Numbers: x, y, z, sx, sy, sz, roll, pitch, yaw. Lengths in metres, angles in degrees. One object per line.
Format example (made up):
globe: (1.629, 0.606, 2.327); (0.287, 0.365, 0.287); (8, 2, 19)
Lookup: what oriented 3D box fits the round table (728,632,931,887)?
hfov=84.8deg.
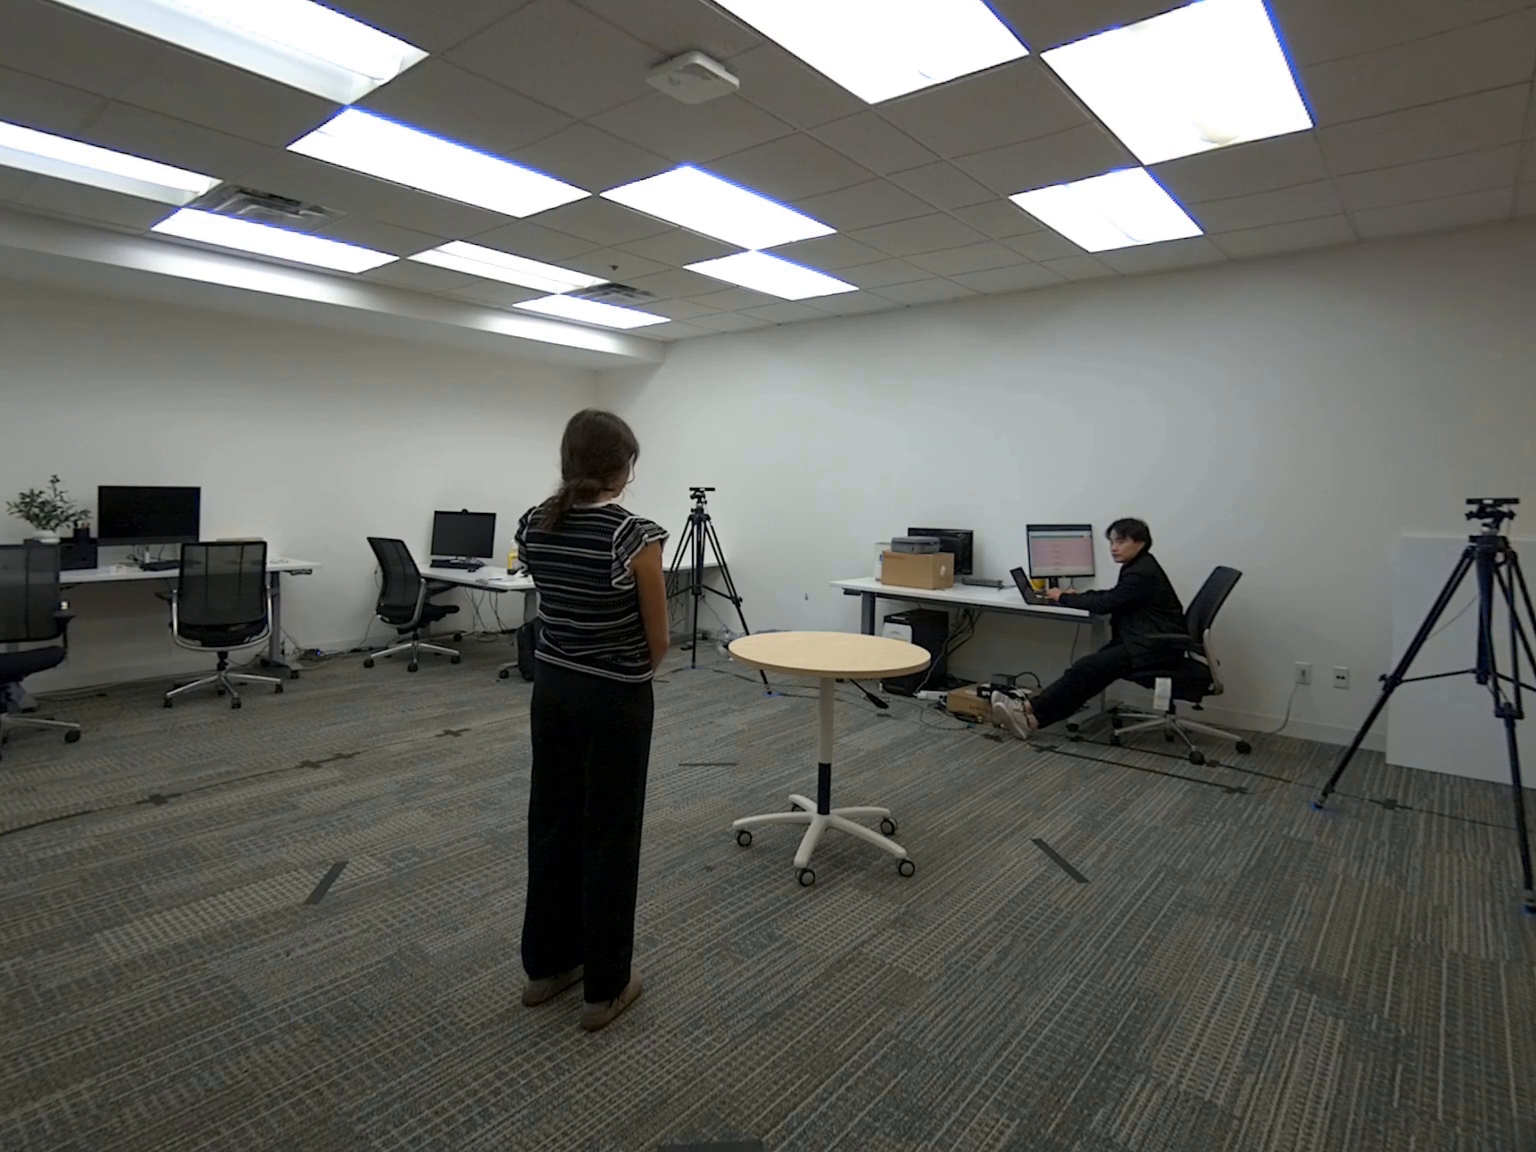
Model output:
round table: (0.214, 0.670, 3.294); (0.763, 0.791, 0.768); (1, 5, -2)
